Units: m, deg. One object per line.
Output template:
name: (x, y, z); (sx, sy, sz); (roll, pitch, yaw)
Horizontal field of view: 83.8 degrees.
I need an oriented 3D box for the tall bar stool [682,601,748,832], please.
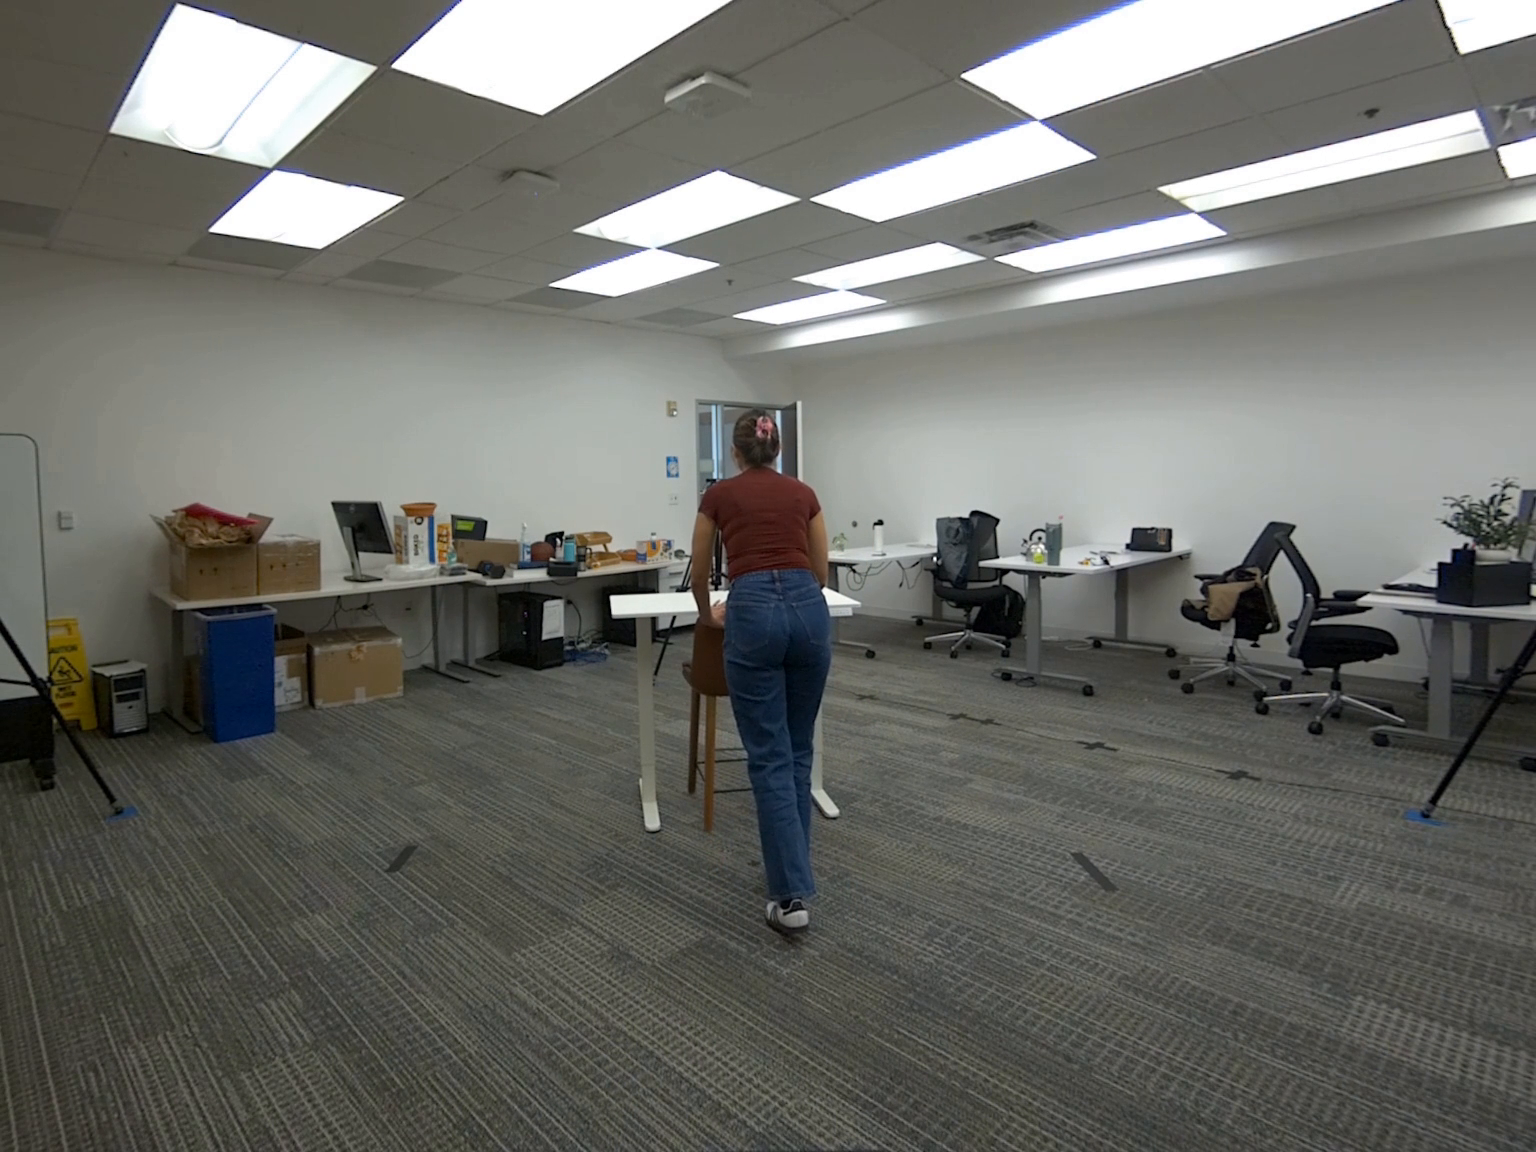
tall bar stool: (-0.114, 0.559, 3.609); (0.453, 0.886, 0.473); (0, 5, -8)
